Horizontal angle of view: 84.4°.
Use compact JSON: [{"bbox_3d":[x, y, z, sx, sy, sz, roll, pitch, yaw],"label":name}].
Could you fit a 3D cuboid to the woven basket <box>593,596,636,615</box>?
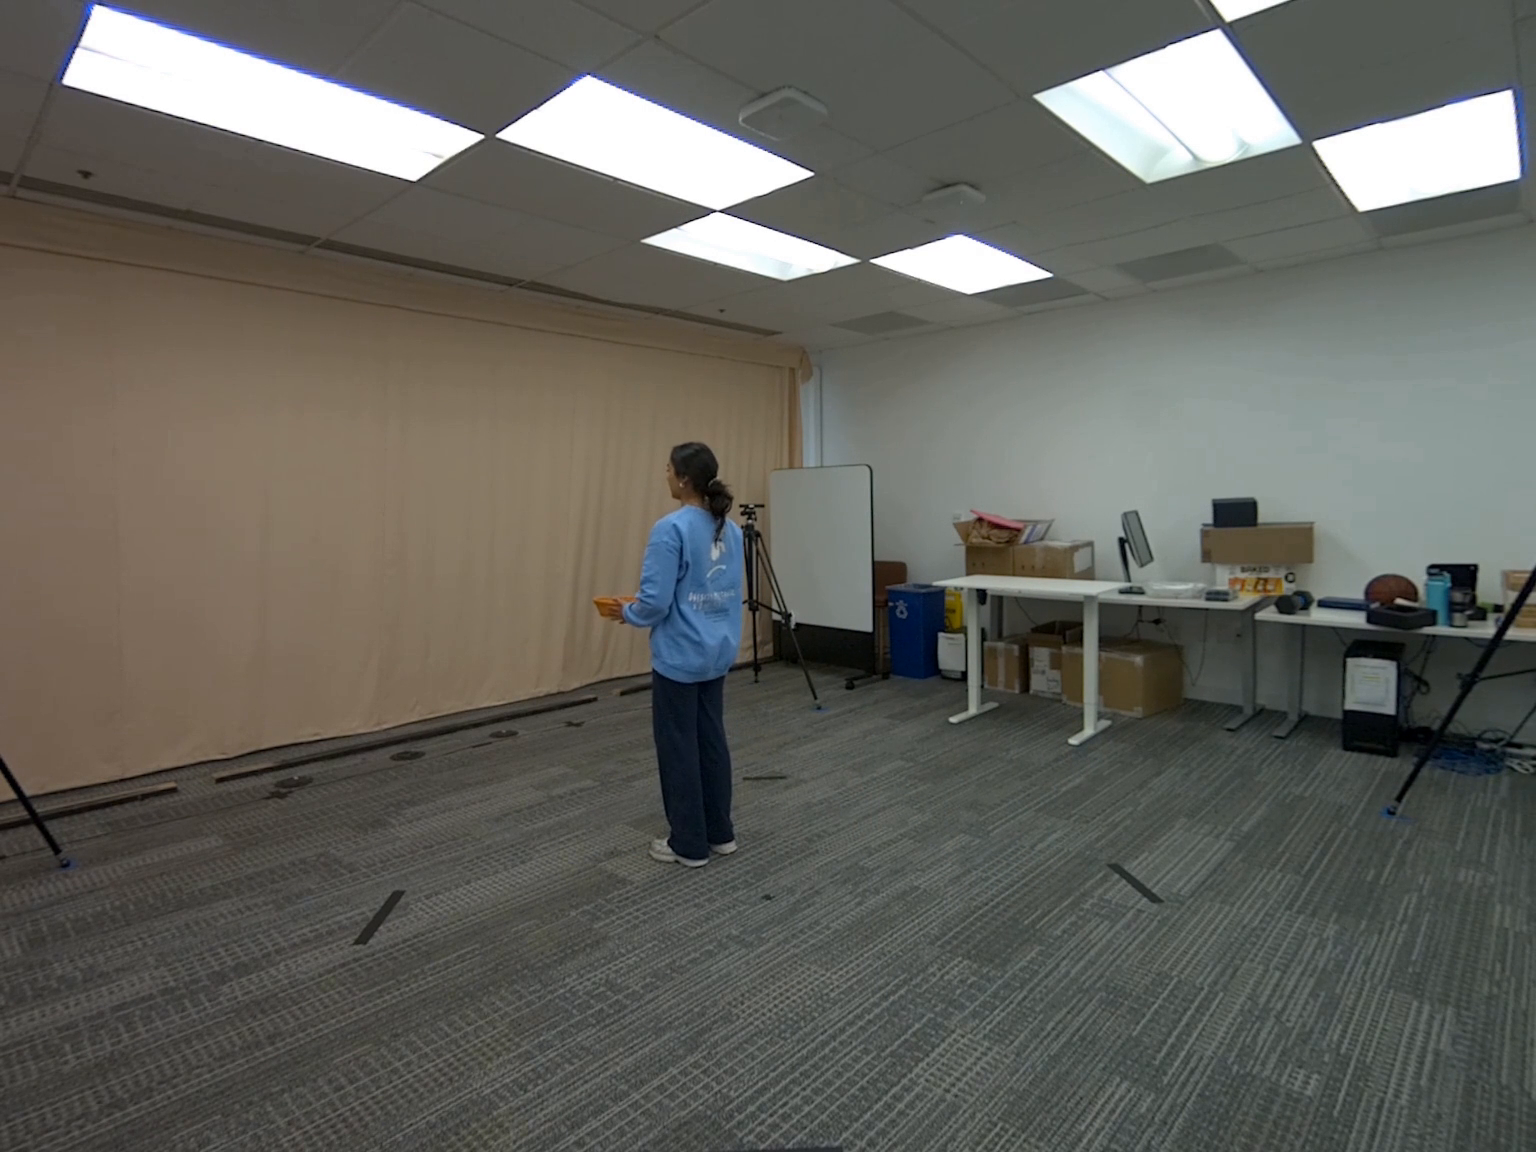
[{"bbox_3d":[-0.581,0.145,3.569,0.362,0.073,0.244,4,4,42],"label":"woven basket"}]
